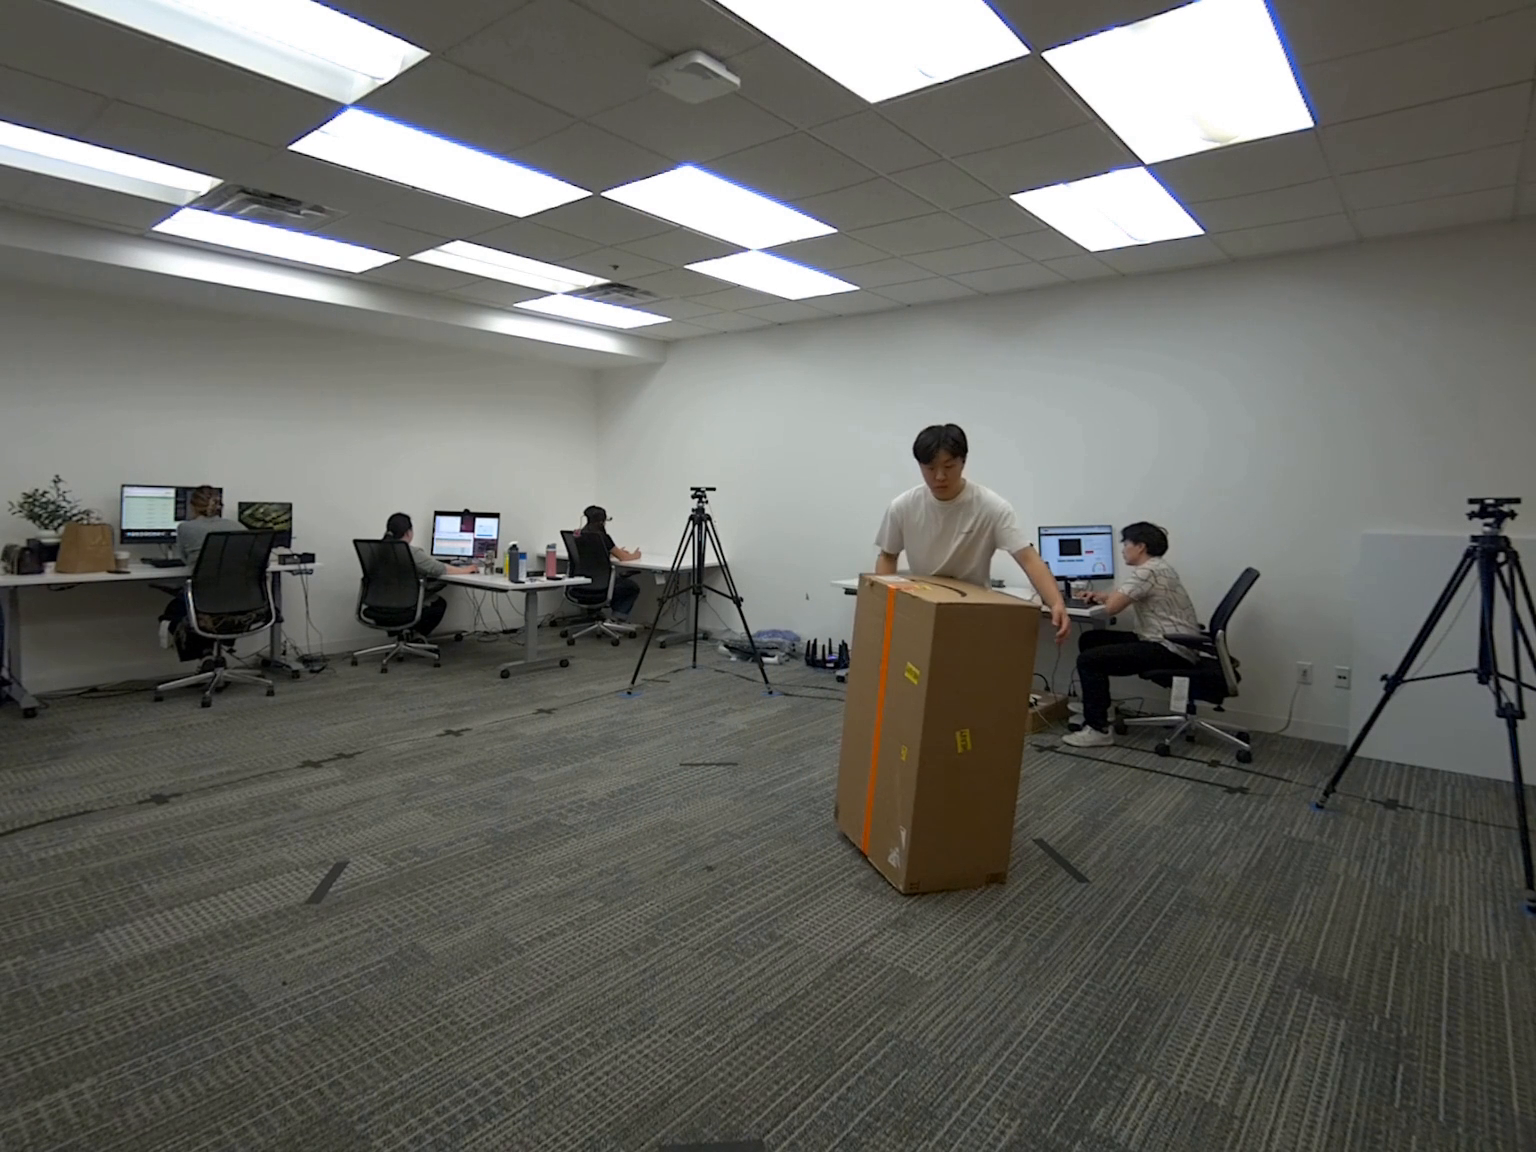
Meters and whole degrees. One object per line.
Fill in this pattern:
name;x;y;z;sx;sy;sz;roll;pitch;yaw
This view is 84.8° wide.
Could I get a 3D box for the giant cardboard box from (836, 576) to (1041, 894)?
giant cardboard box;0.604;0.551;3.206;0.416;1.020;0.595;2;8;-24
